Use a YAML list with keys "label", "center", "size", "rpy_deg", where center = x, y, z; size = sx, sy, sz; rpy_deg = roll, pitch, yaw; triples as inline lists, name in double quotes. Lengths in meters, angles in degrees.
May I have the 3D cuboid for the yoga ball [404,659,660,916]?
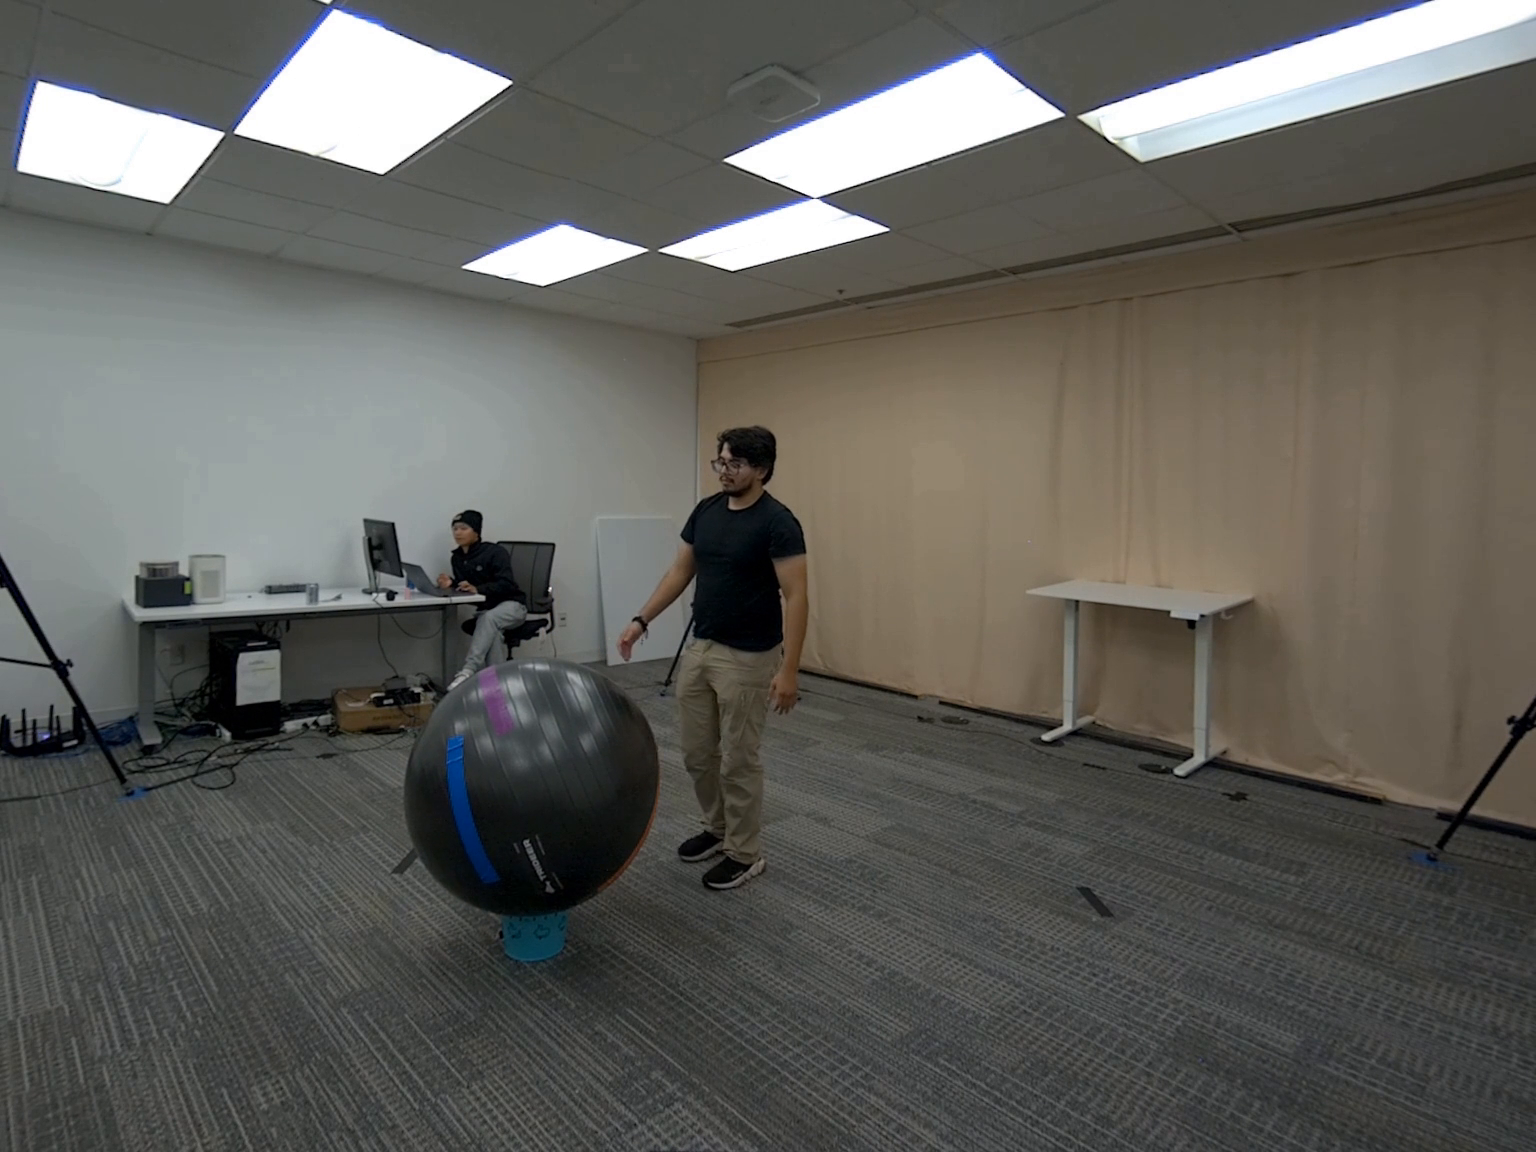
- label: "yoga ball"
  center: [-0.712, 0.634, 2.575]
  size: [0.757, 0.756, 0.761]
  rpy_deg: [1, 4, -1]
